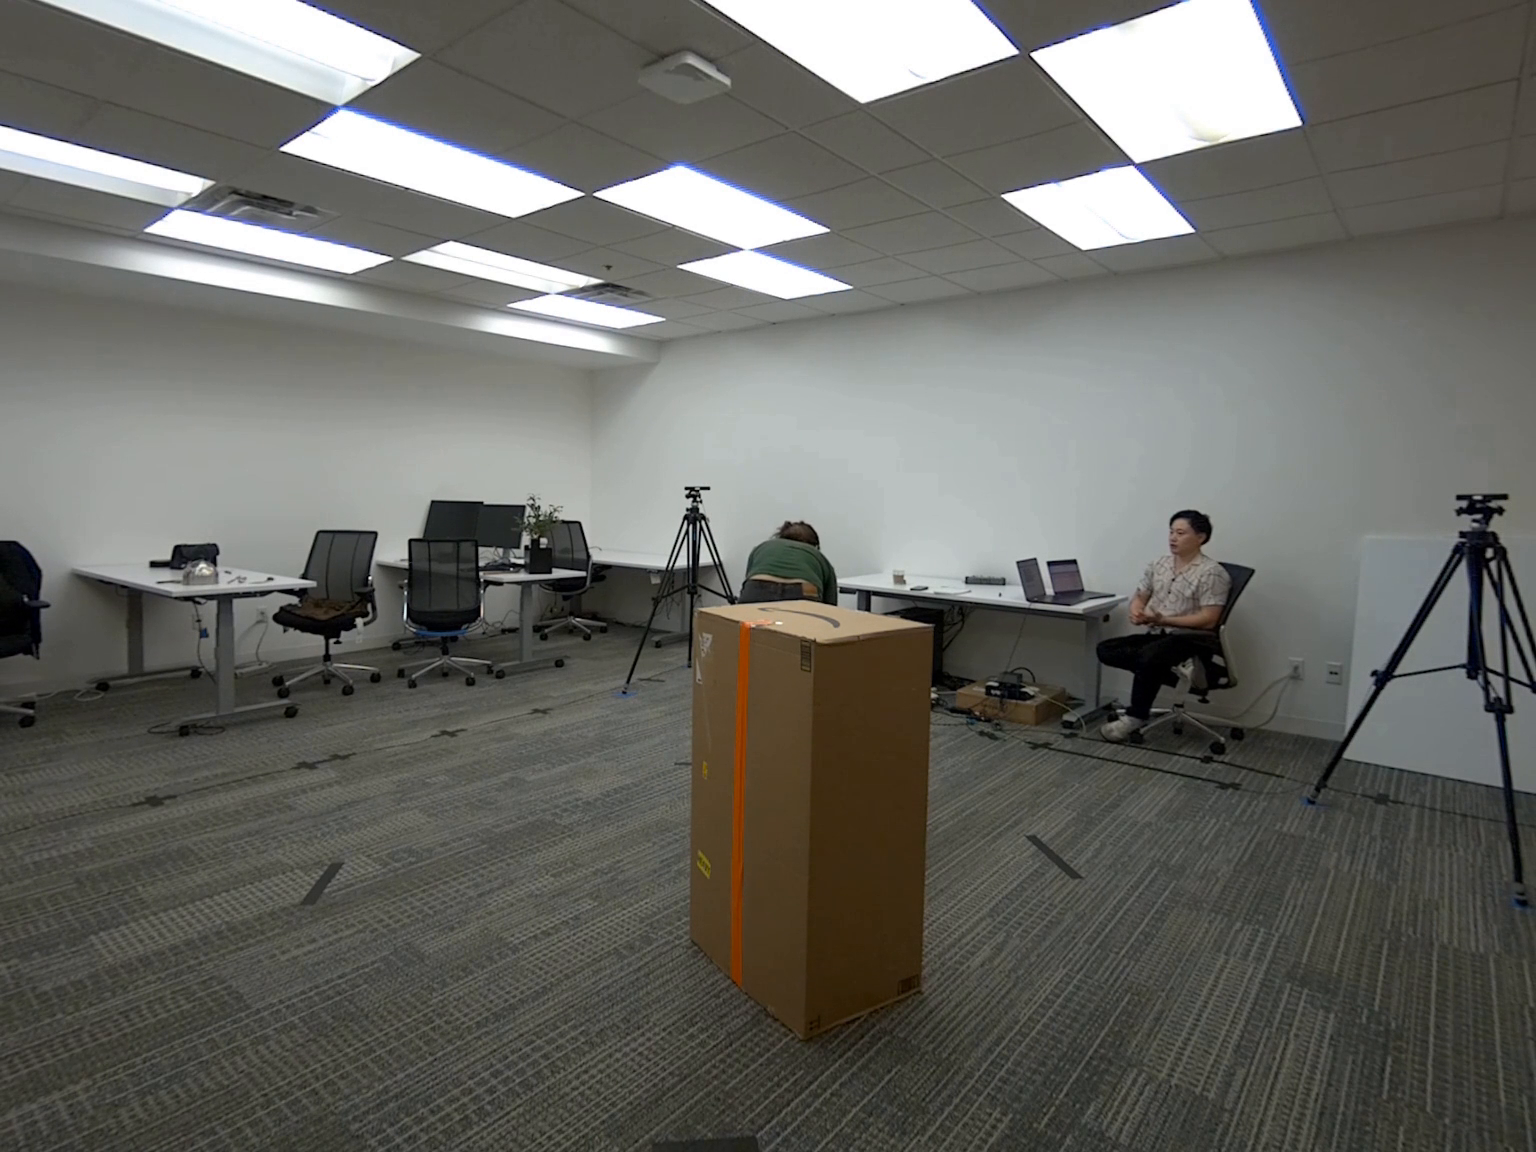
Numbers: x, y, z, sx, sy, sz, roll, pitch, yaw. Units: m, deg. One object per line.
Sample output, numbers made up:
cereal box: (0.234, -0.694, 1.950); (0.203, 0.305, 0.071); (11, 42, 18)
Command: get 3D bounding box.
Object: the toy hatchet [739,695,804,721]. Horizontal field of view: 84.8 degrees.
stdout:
toy hatchet: (0.015, 0.602, 3.838); (0.260, 0.030, 0.131); (14, -42, -35)
